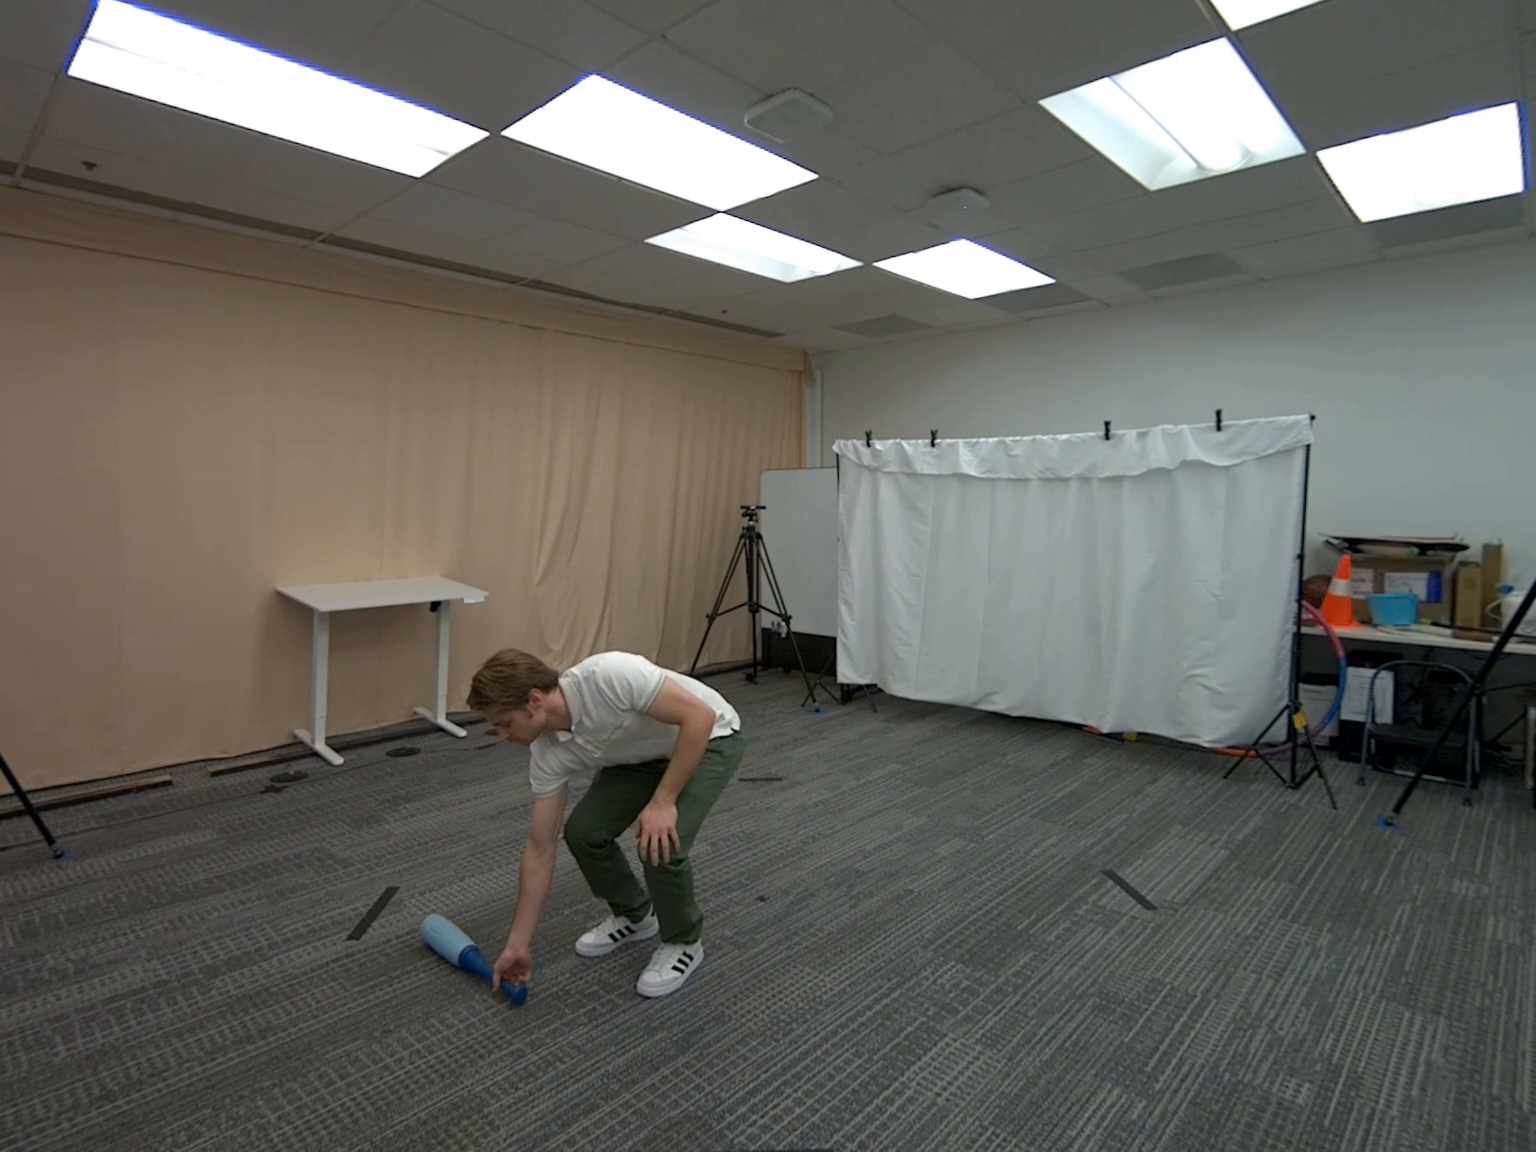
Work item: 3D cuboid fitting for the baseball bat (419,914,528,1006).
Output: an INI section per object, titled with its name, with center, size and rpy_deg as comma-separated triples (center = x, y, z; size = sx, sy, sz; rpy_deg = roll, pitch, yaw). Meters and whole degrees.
[baseball bat]
center = -0.883, 1.146, 2.520
size = 0.561, 0.089, 0.086
rpy_deg = 6, 6, 43
